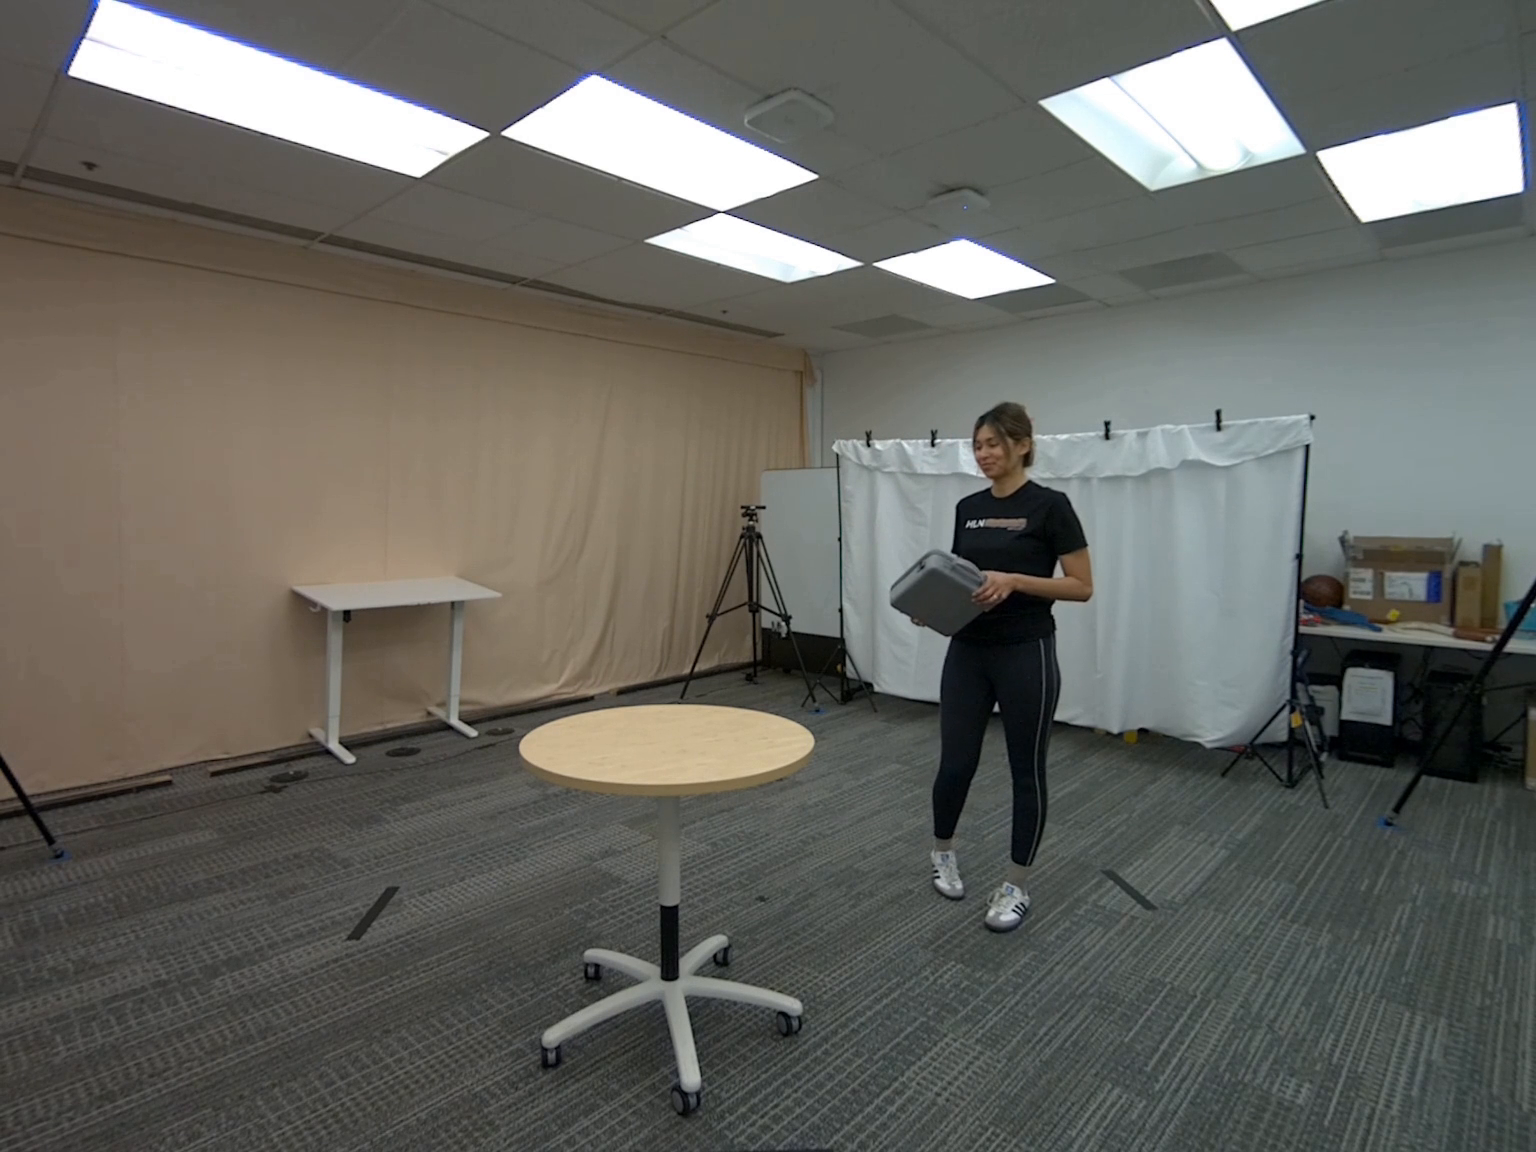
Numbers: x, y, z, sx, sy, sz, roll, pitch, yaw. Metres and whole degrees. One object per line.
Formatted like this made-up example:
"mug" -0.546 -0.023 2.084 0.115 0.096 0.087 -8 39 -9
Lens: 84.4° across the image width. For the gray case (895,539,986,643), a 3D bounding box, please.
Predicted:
"gray case" 0.586 0.063 2.661 0.255 0.261 0.104 31 41 -5
